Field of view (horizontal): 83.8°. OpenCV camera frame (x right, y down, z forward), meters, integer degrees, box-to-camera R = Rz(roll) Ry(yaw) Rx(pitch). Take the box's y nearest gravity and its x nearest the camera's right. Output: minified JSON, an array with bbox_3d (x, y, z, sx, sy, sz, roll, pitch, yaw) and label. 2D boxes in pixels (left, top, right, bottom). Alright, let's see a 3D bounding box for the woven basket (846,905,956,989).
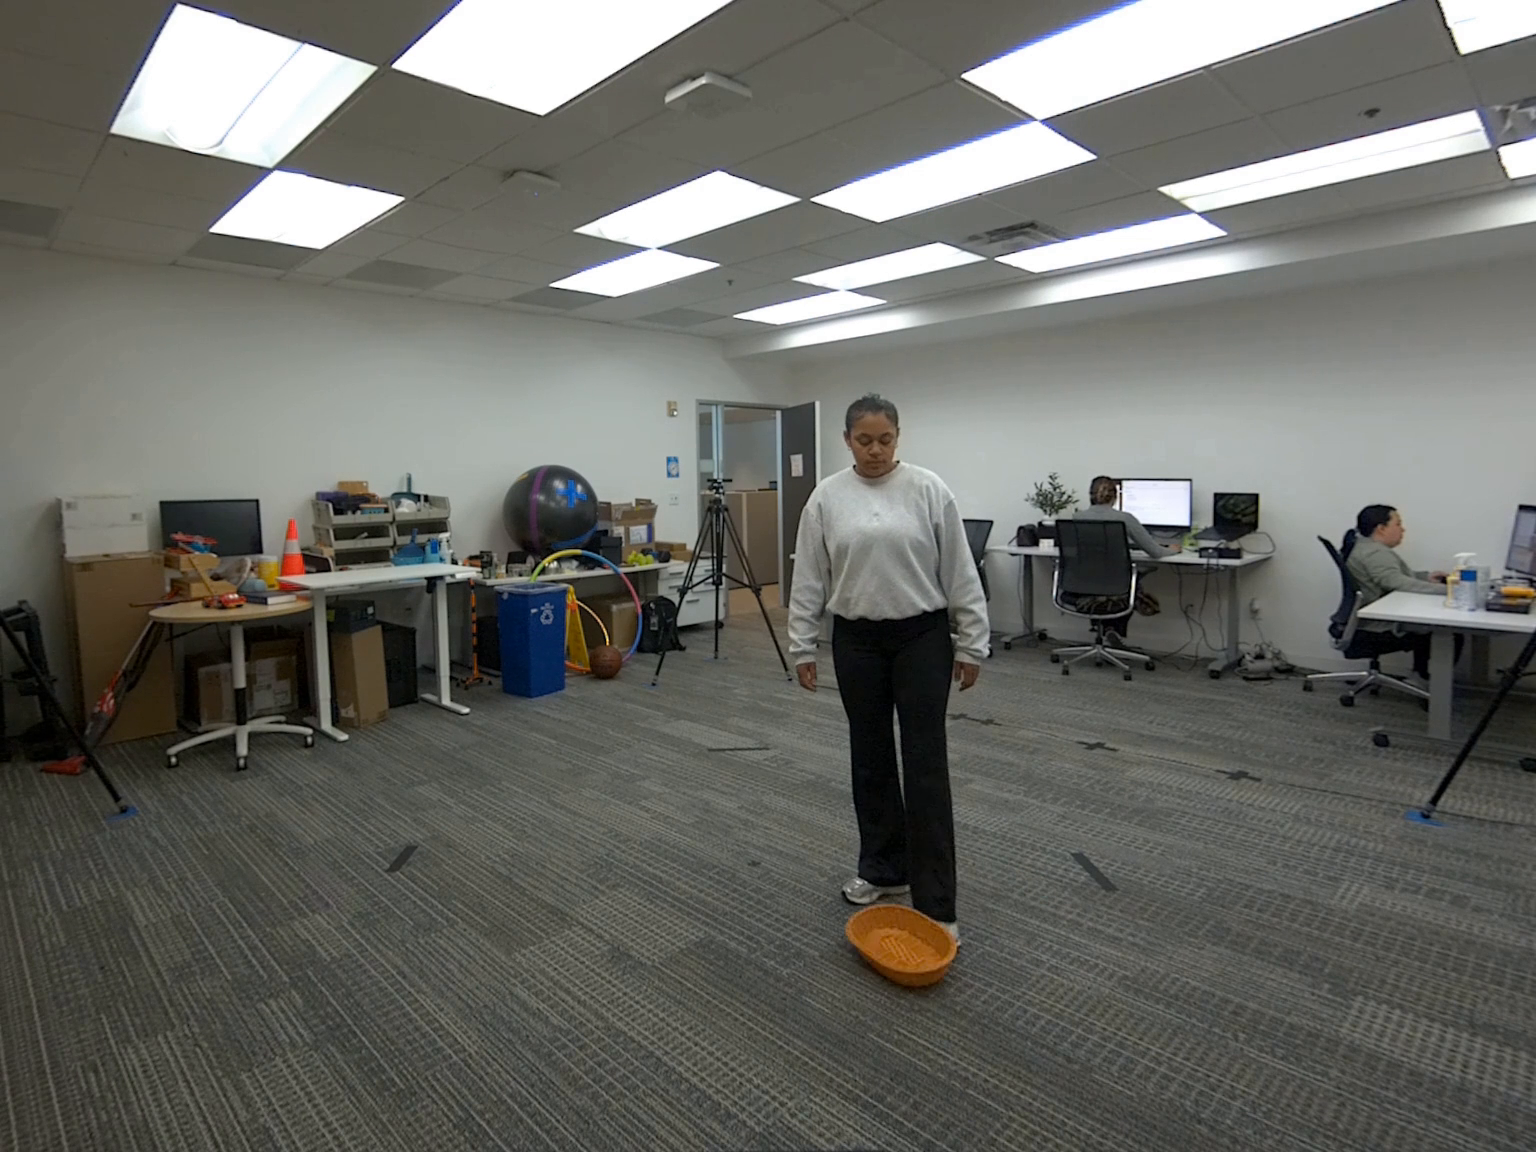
[{"bbox_3d":[0.391,1.069,2.471,0.247,0.073,0.360,-11,10,-28],"label":"woven basket"}]
